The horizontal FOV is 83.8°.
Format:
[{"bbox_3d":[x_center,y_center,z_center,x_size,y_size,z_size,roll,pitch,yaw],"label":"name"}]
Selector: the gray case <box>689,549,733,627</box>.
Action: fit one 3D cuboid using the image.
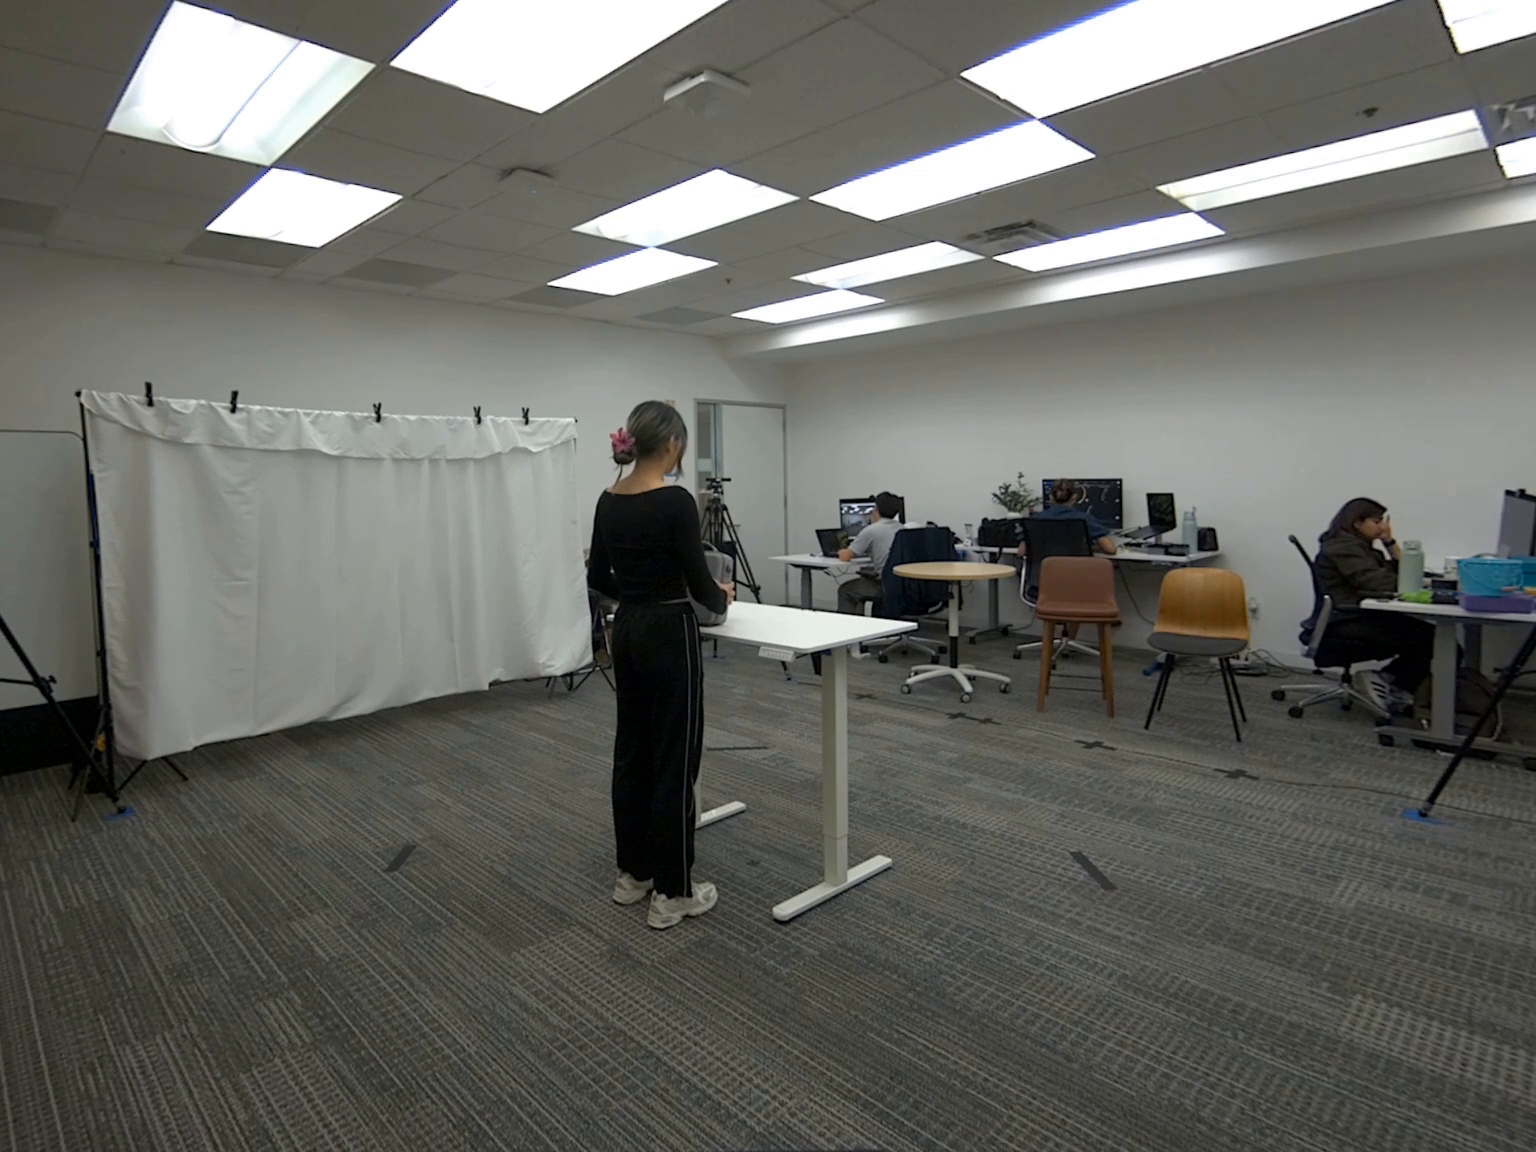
[{"bbox_3d":[-0.253,0.038,3.055,0.264,0.262,0.101,3,-7,37],"label":"gray case"}]
